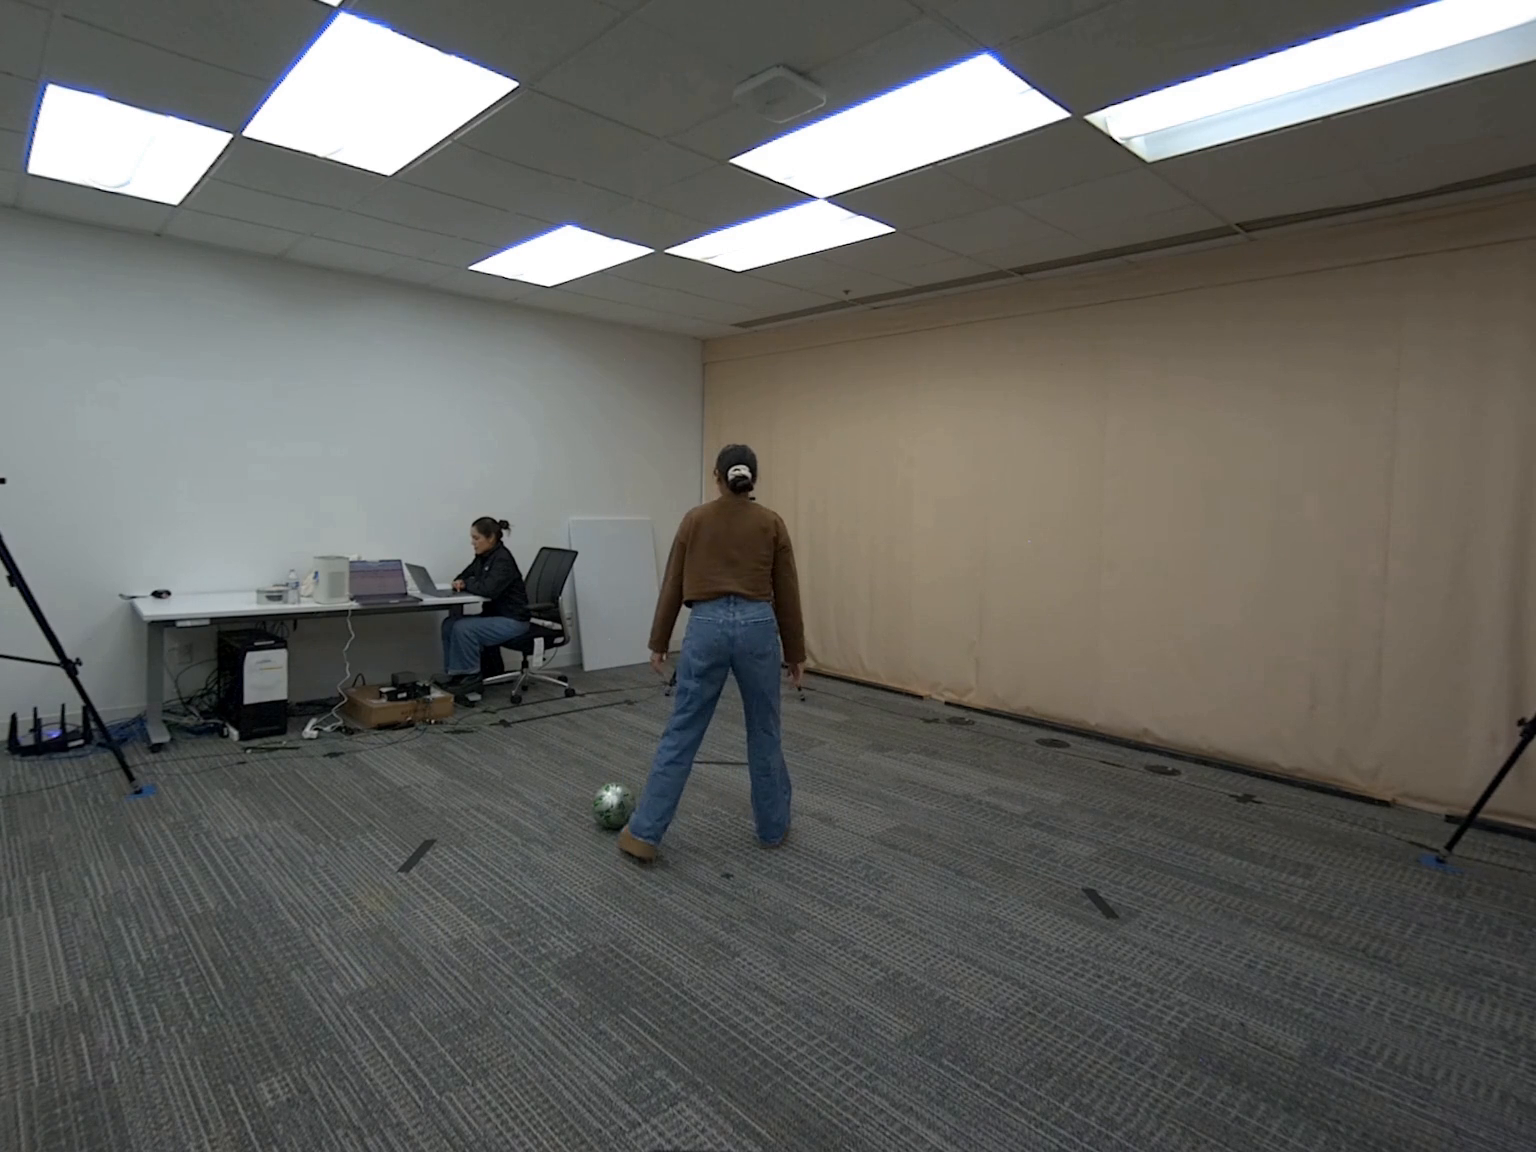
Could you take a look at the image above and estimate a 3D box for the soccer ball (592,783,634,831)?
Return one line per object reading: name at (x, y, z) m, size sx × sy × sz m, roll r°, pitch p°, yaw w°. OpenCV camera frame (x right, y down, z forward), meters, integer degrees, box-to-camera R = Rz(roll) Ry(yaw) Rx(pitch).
soccer ball at (-0.649, 0.960, 3.532) m, size 0.187 × 0.187 × 0.188 m, roll 1°, pitch 4°, yaw -1°
